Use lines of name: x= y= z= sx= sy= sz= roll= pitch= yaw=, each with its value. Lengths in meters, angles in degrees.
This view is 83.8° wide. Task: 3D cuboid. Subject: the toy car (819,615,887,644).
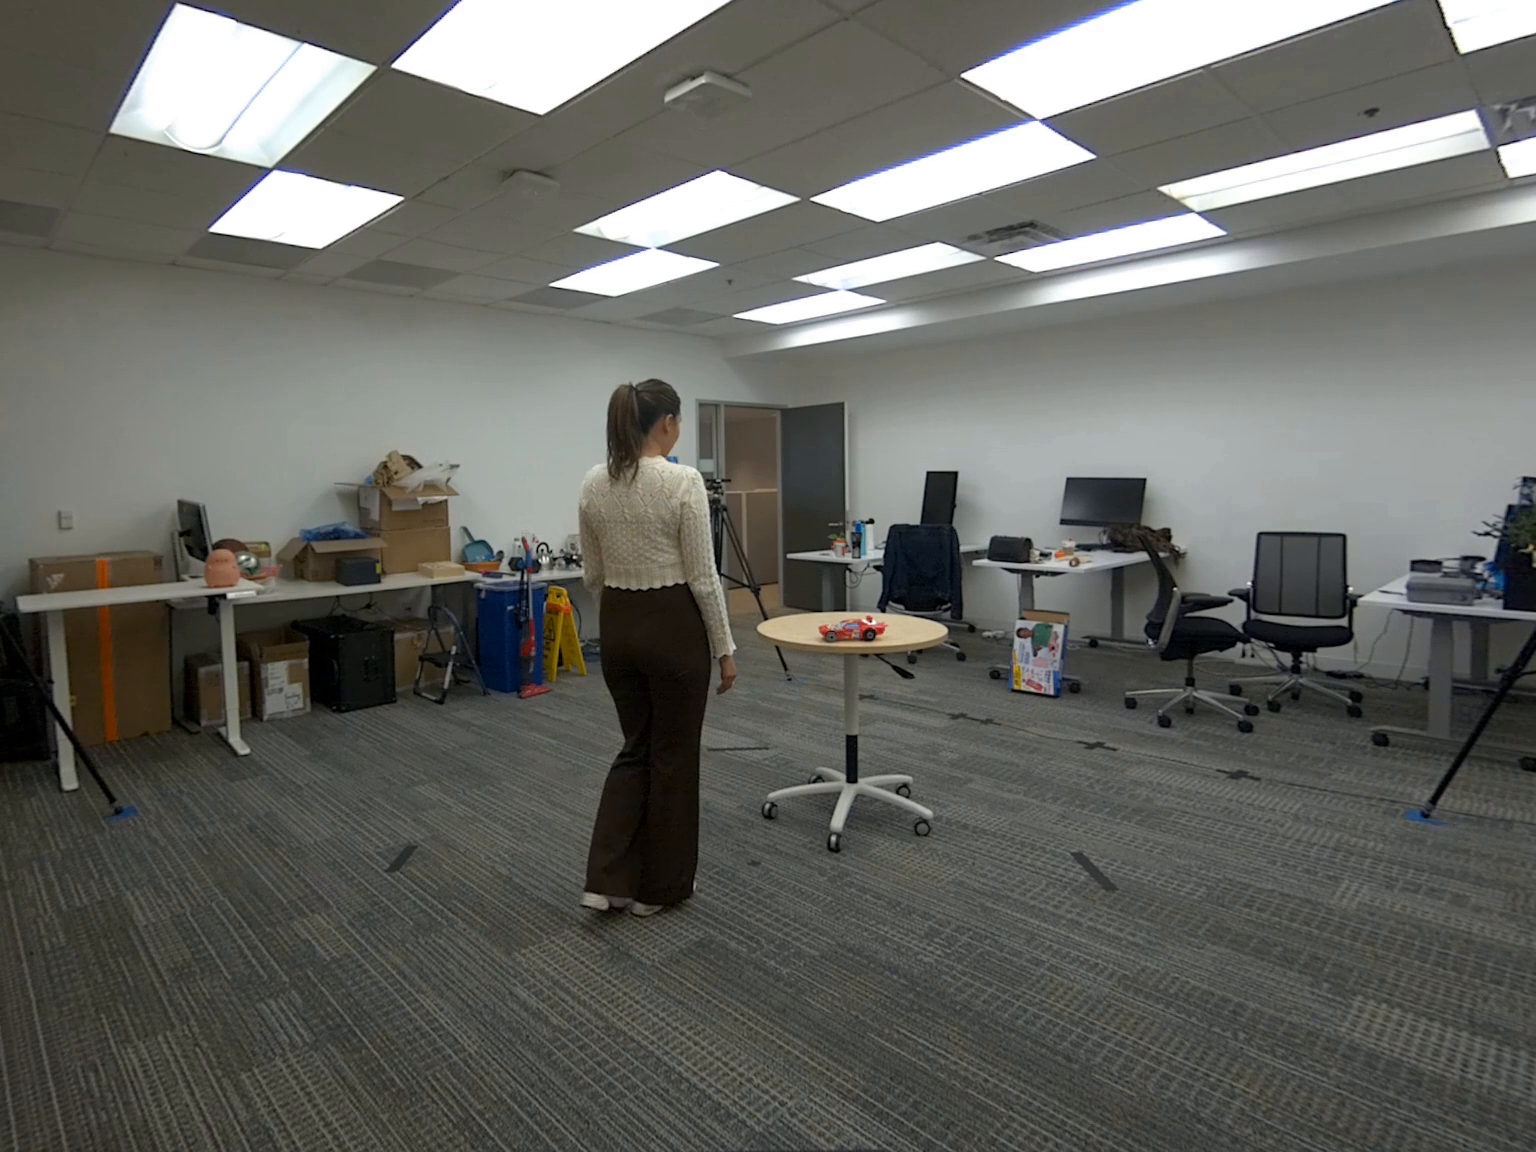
toy car: x=0.339 y=0.206 z=3.237 sx=0.254 sy=0.082 sz=0.131 roll=-14 pitch=8 yaw=-1
